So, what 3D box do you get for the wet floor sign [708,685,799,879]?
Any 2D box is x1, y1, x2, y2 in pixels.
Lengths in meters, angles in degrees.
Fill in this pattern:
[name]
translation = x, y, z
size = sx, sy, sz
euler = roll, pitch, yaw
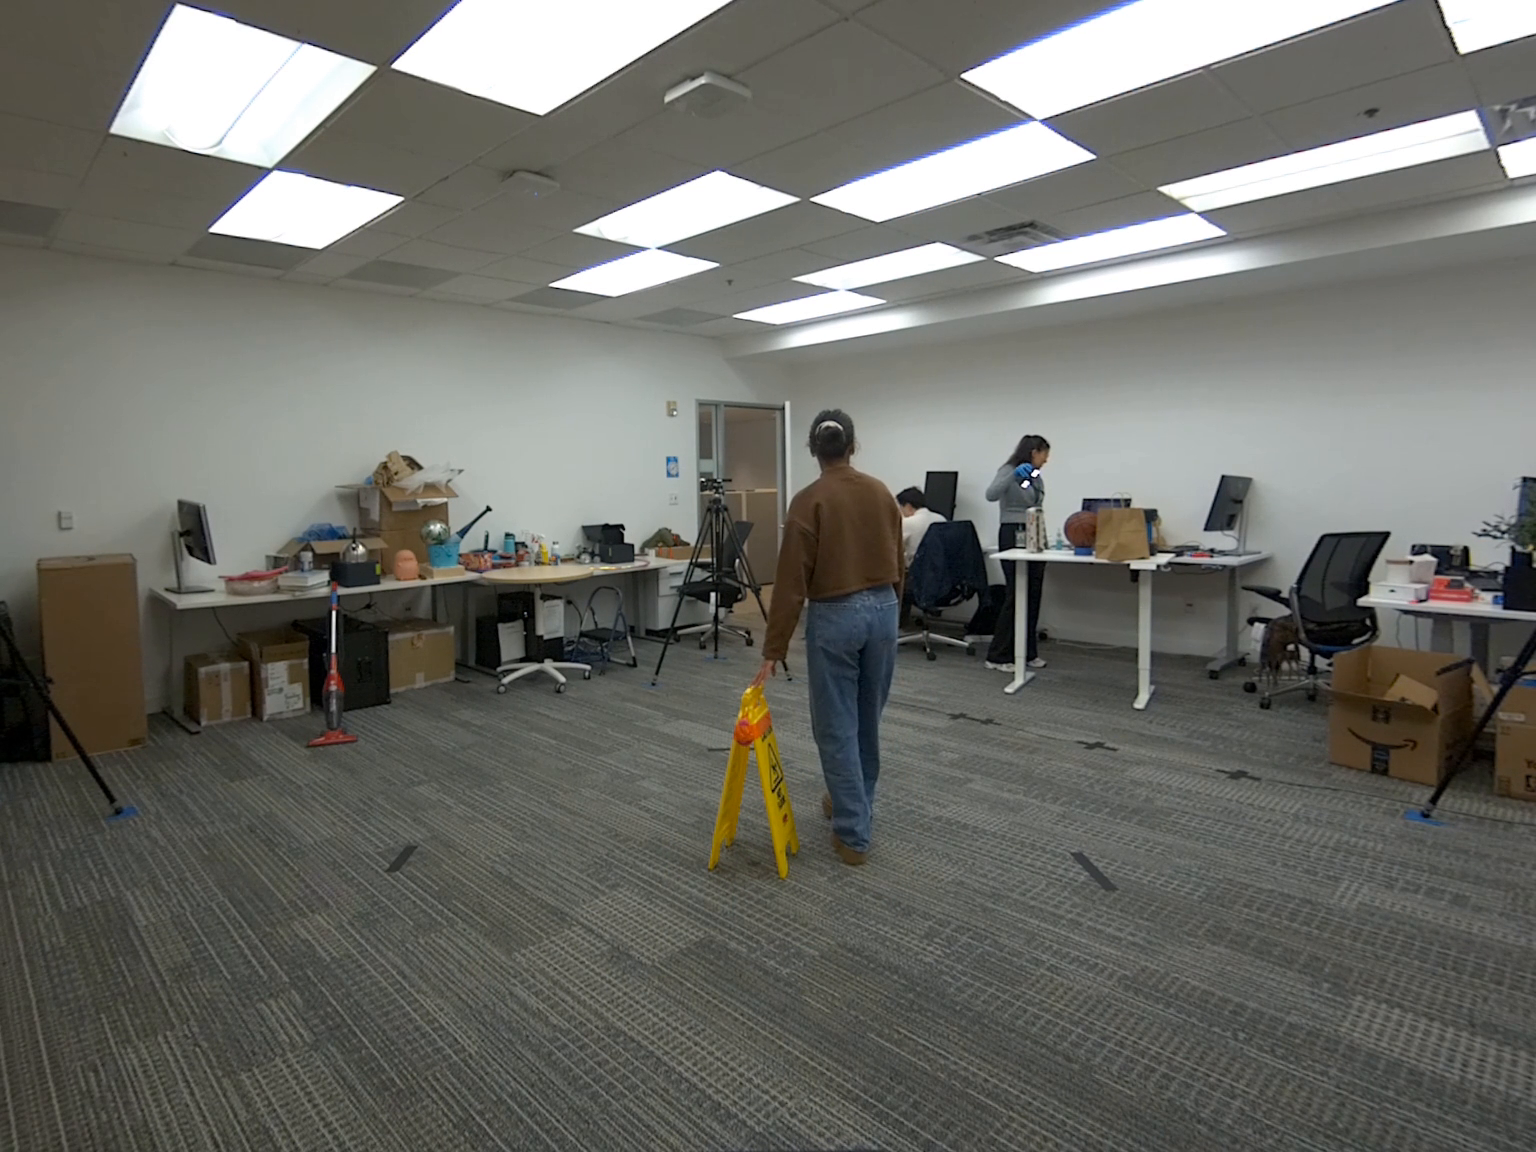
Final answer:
[wet floor sign]
translation = -0.054, 0.716, 3.124
size = 0.294, 0.645, 0.279
euler = 0, 2, 14
